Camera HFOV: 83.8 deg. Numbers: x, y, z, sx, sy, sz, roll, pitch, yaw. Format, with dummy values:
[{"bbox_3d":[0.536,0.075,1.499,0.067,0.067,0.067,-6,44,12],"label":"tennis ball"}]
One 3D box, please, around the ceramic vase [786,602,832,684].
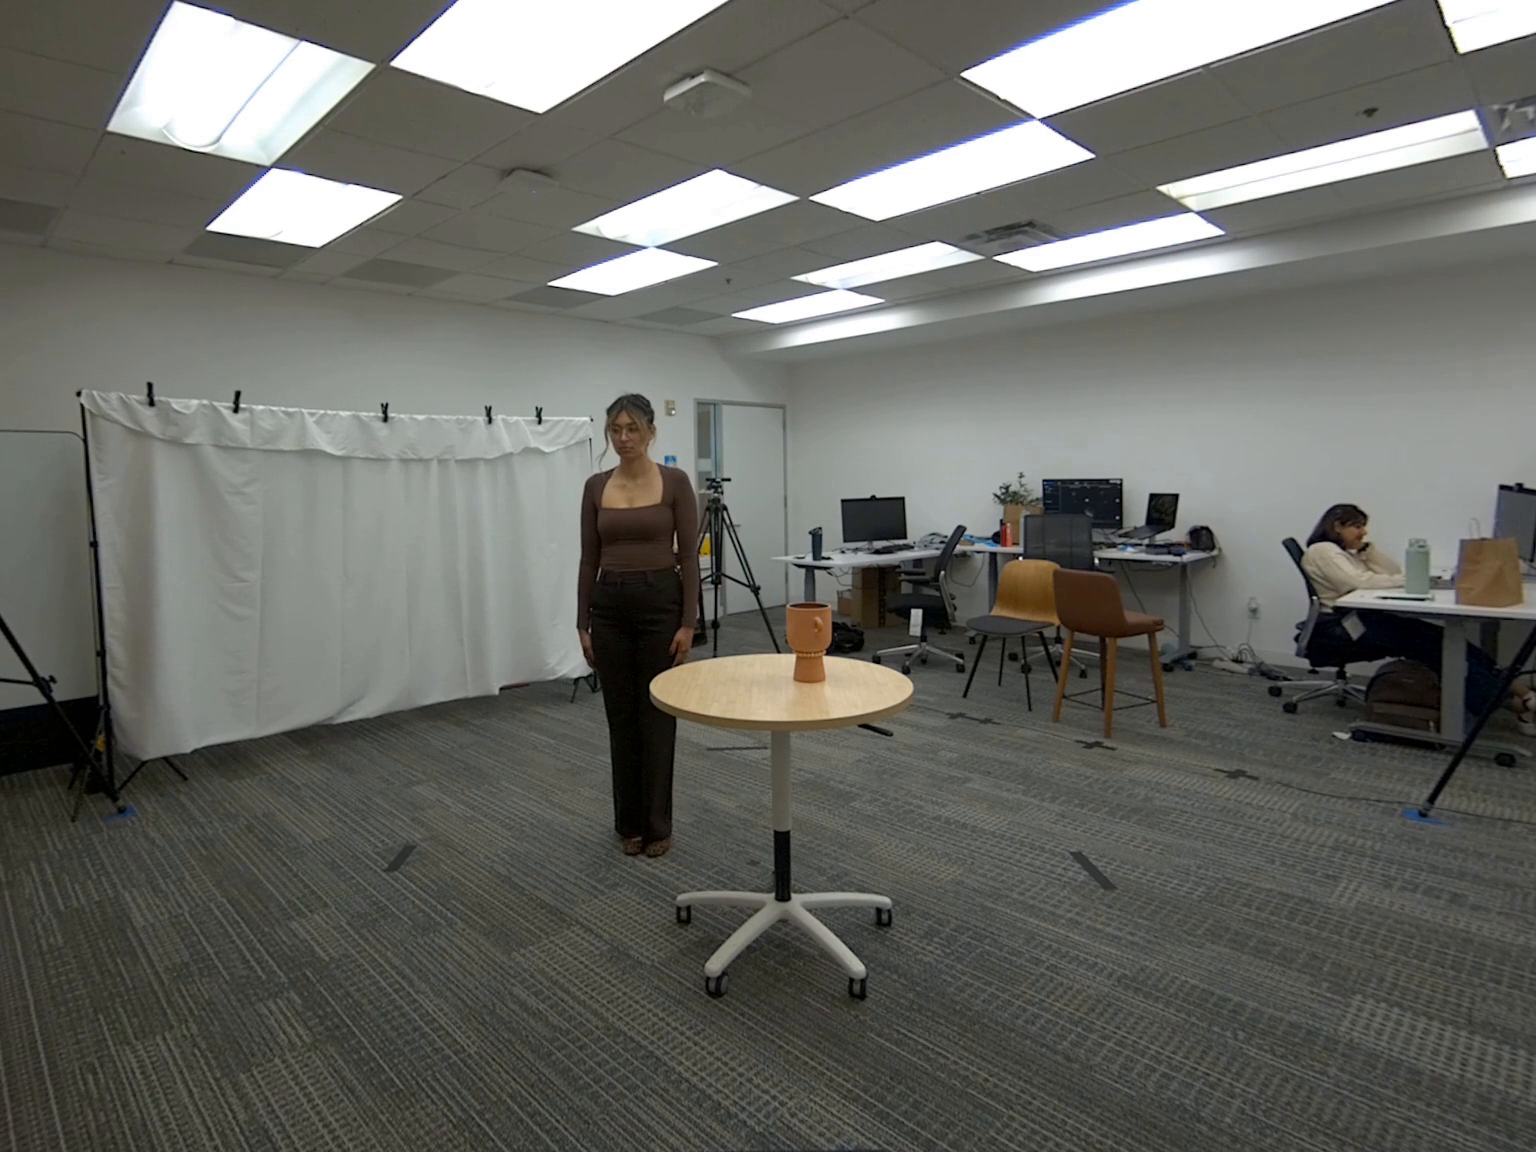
[{"bbox_3d":[0.129,0.199,2.532,0.137,0.219,0.156,2,6,23],"label":"ceramic vase"}]
